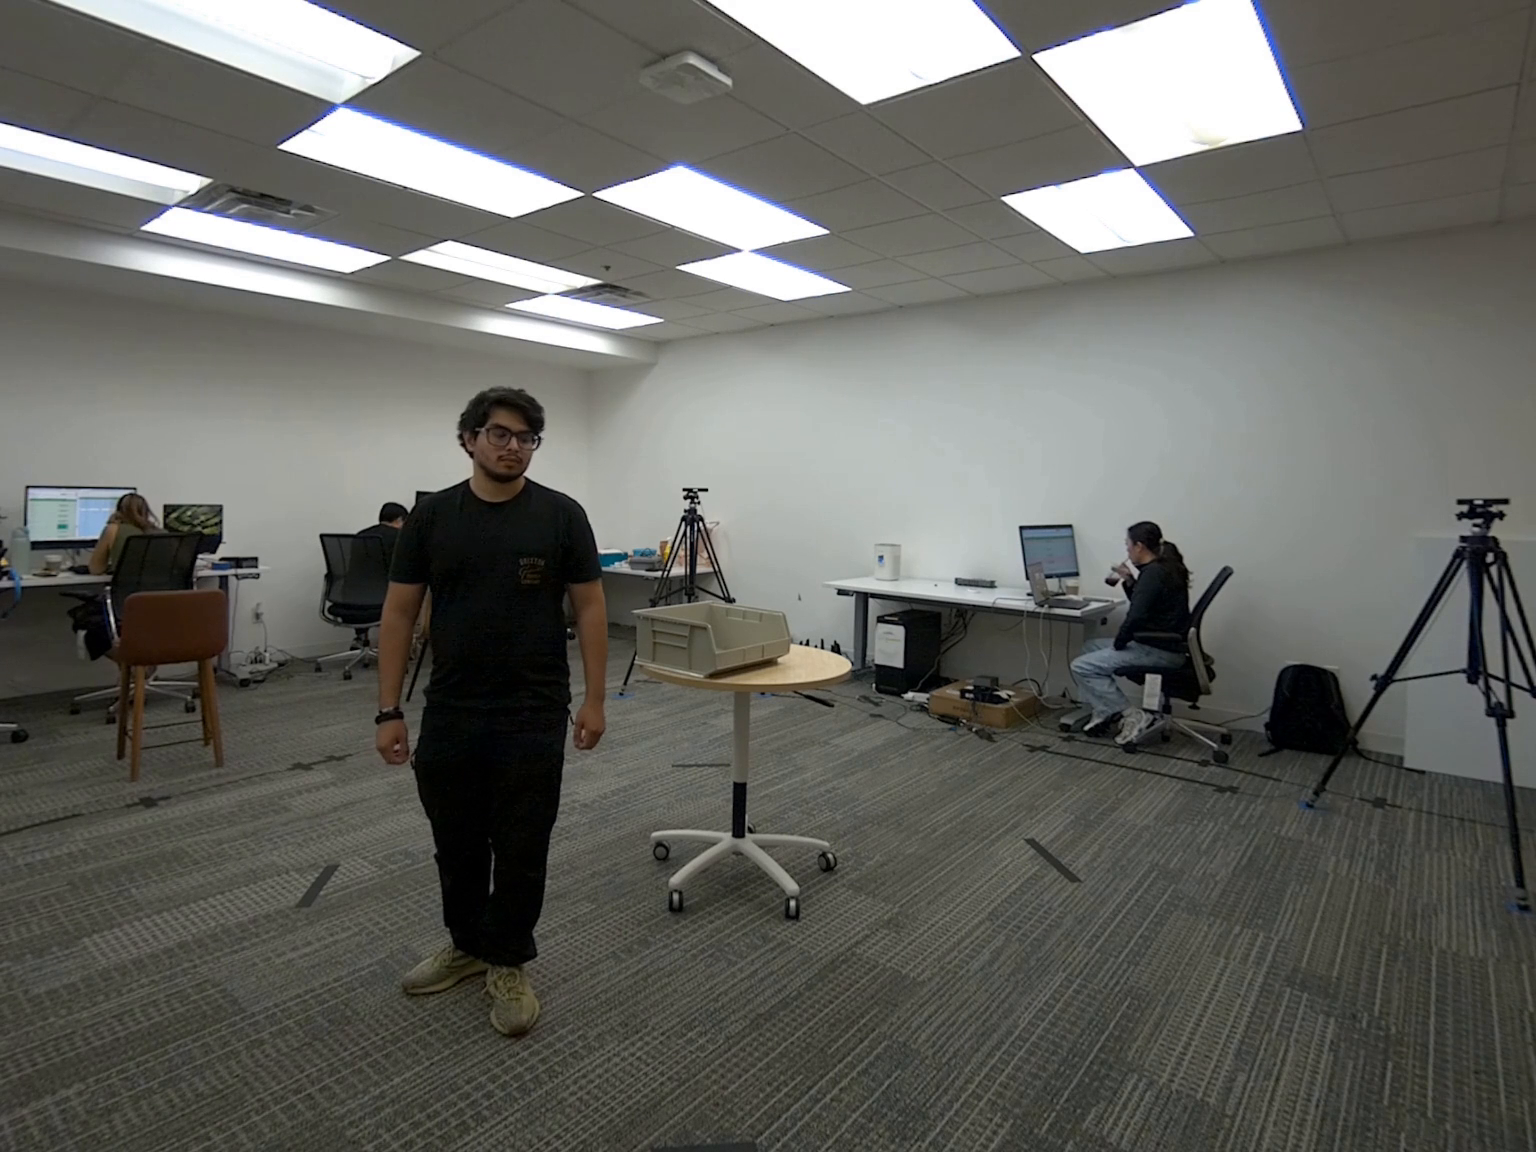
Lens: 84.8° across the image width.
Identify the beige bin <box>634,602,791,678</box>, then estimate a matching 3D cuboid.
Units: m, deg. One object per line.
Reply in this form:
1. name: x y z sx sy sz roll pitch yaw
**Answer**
1. beige bin: -0.198 0.212 2.942 0.390 0.188 0.410 4 6 38
